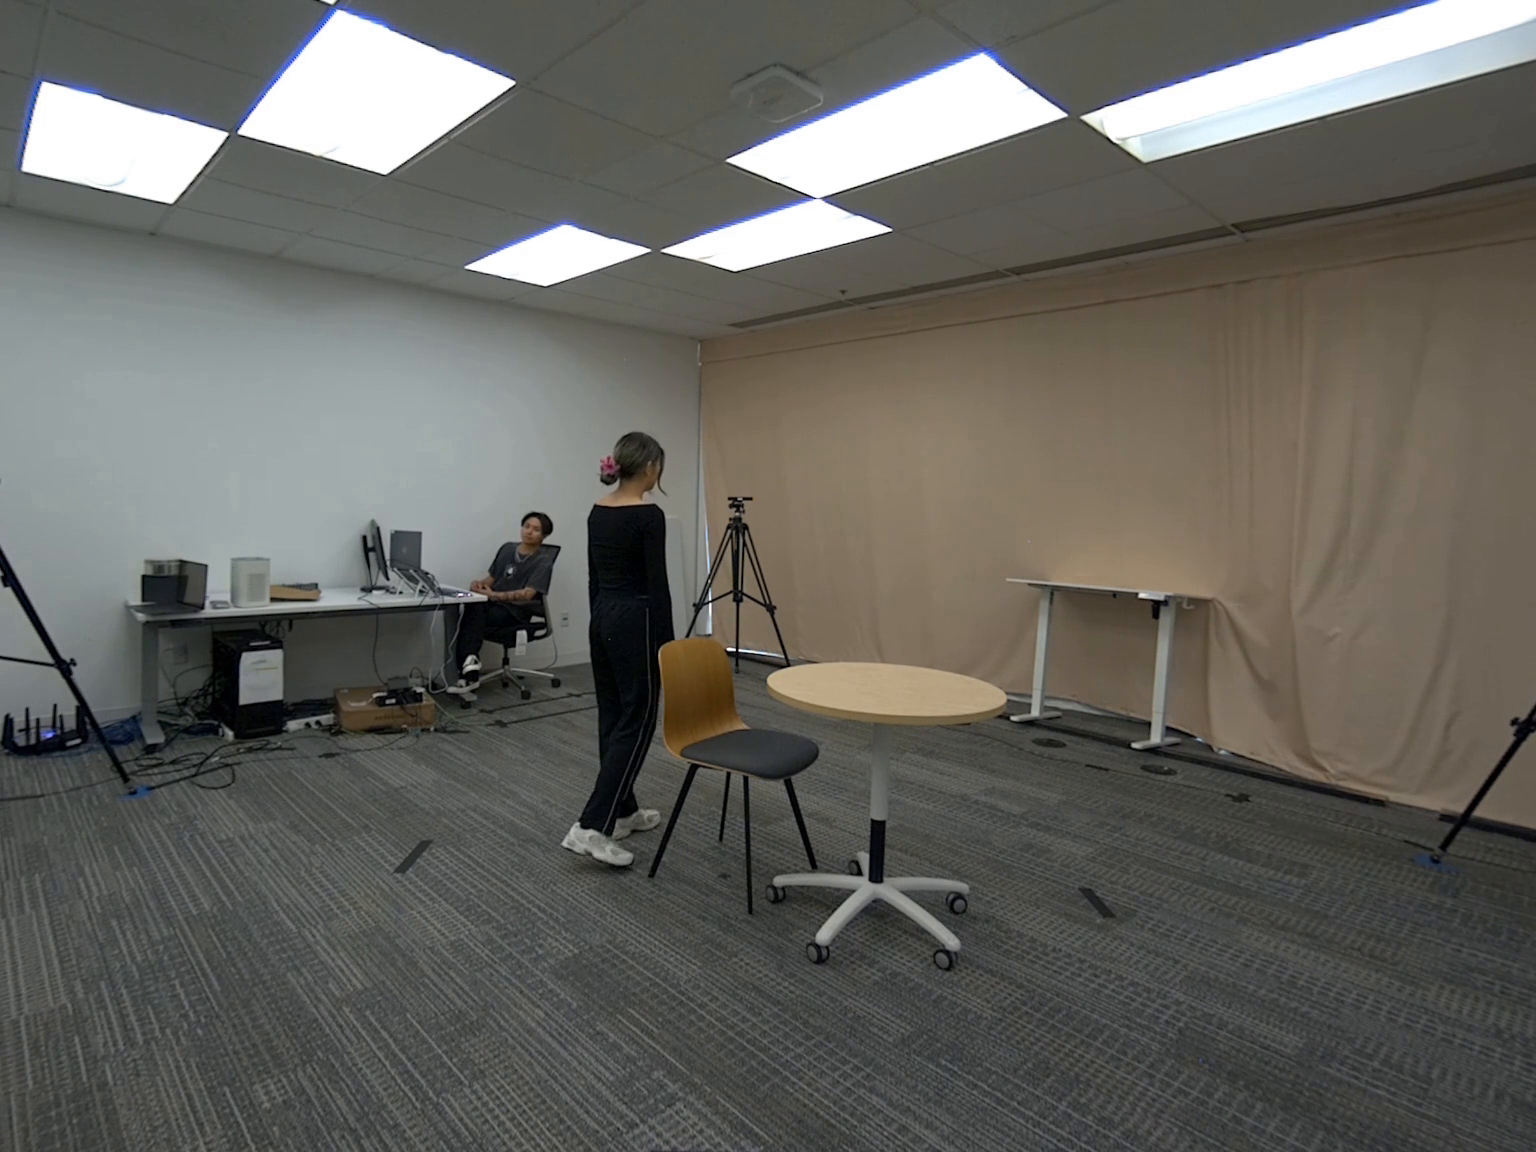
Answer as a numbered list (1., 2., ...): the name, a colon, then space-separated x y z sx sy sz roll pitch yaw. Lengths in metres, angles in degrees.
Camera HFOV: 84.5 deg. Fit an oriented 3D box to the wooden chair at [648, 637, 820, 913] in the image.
1. wooden chair: -0.114 0.681 3.091 0.534 0.877 0.468 -2 1 35
